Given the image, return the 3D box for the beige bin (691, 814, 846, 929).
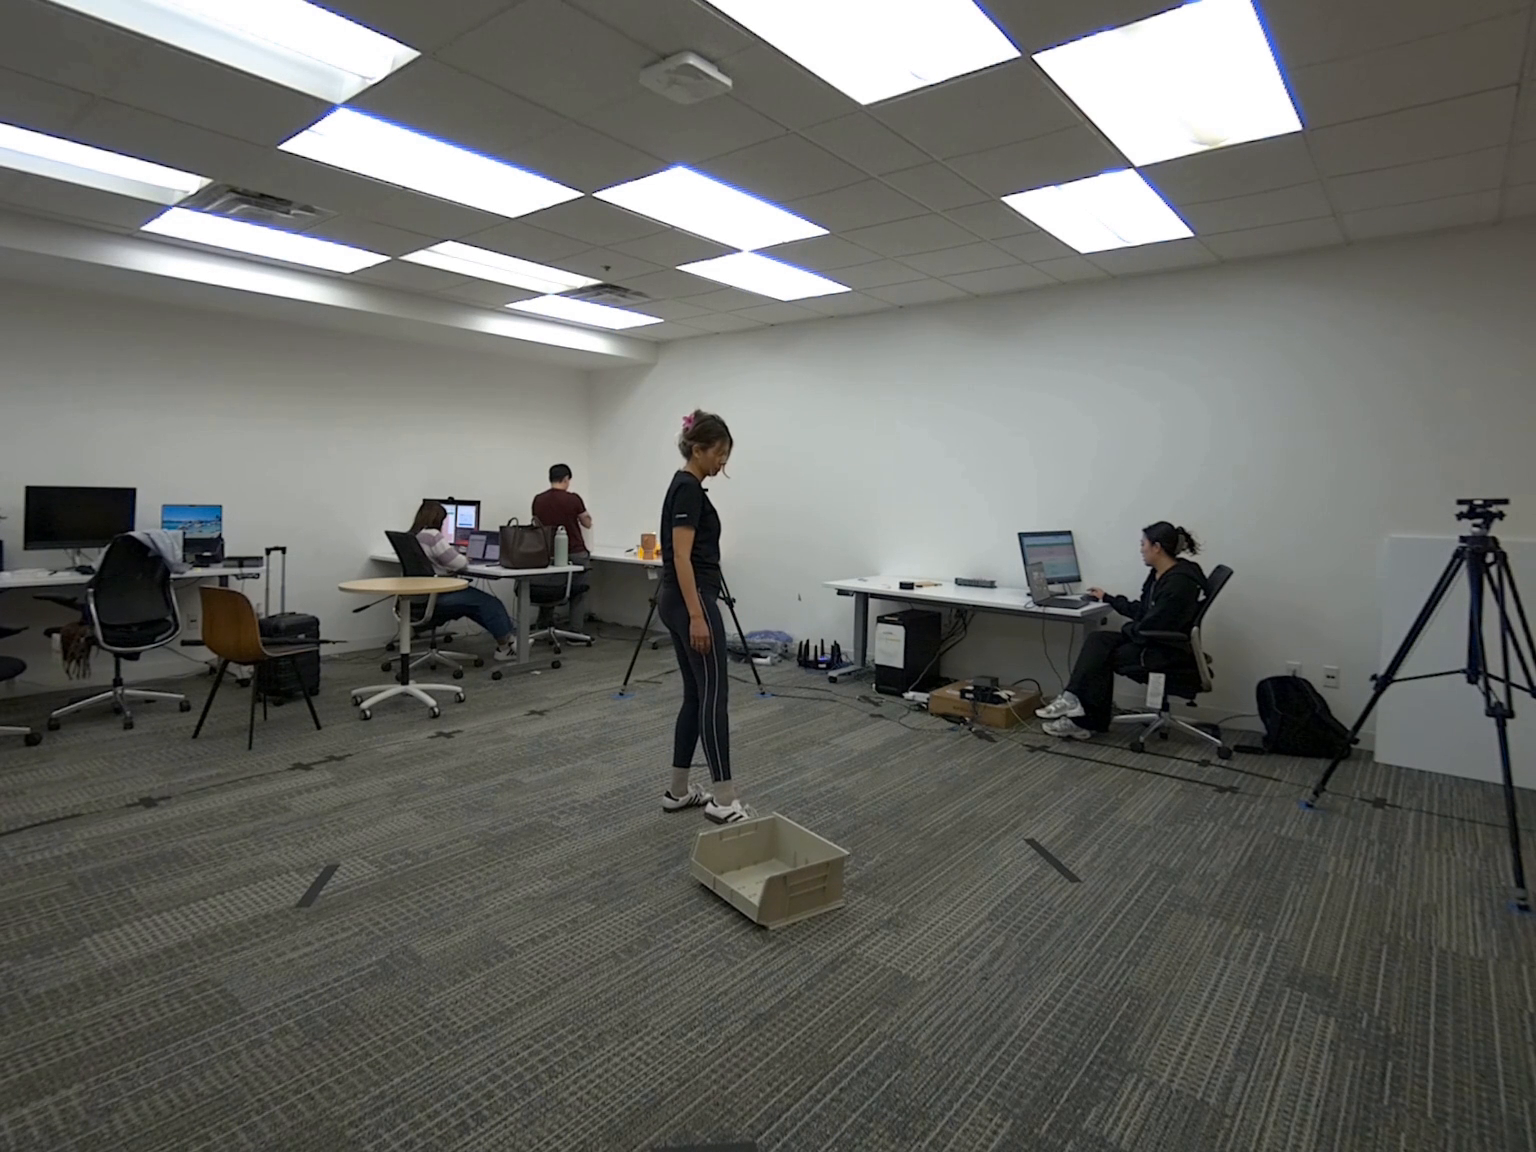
[{"bbox_3d":[-0.009,1.002,2.931,0.366,0.188,0.436,-1,5,-36],"label":"beige bin"}]
